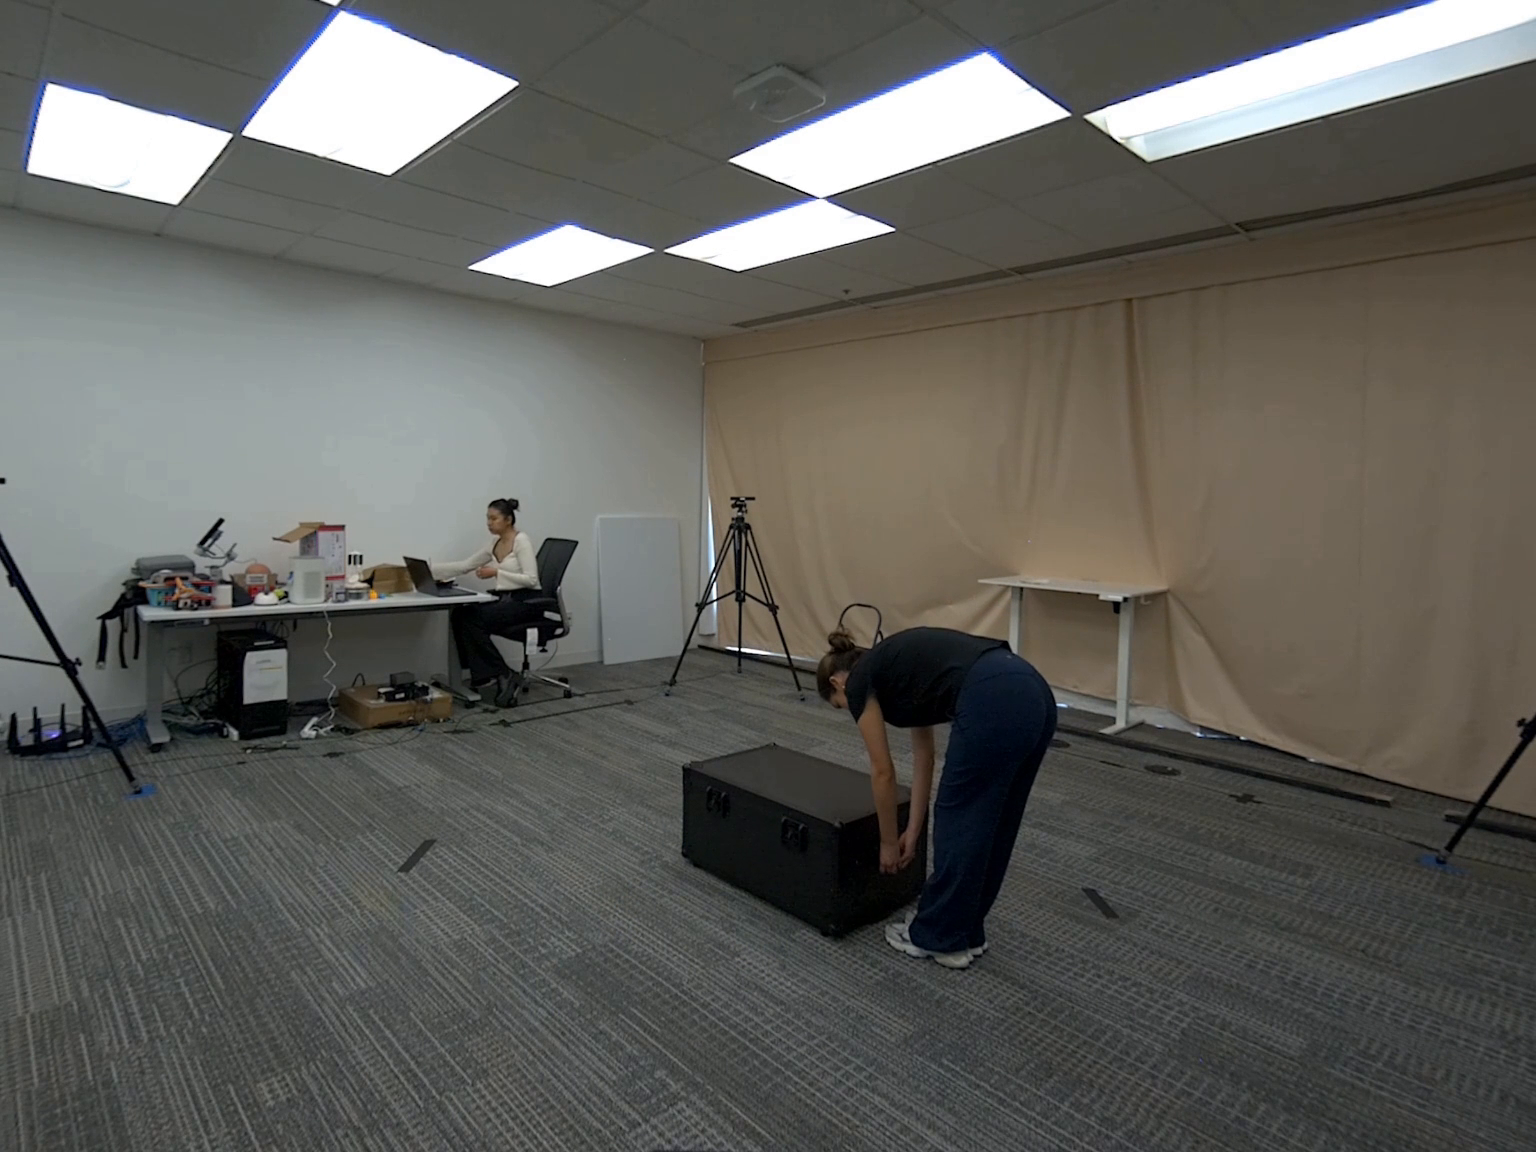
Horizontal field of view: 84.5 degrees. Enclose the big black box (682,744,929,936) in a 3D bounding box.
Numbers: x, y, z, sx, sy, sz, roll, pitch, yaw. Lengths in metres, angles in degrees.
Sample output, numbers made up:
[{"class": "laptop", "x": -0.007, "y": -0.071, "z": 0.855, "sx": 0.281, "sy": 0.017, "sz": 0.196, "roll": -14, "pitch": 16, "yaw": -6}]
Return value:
[{"class": "big black box", "x": 0.093, "y": 0.925, "z": 3.090, "sx": 0.509, "sy": 0.395, "sz": 0.884, "roll": -2, "pitch": 7, "yaw": -44}]
